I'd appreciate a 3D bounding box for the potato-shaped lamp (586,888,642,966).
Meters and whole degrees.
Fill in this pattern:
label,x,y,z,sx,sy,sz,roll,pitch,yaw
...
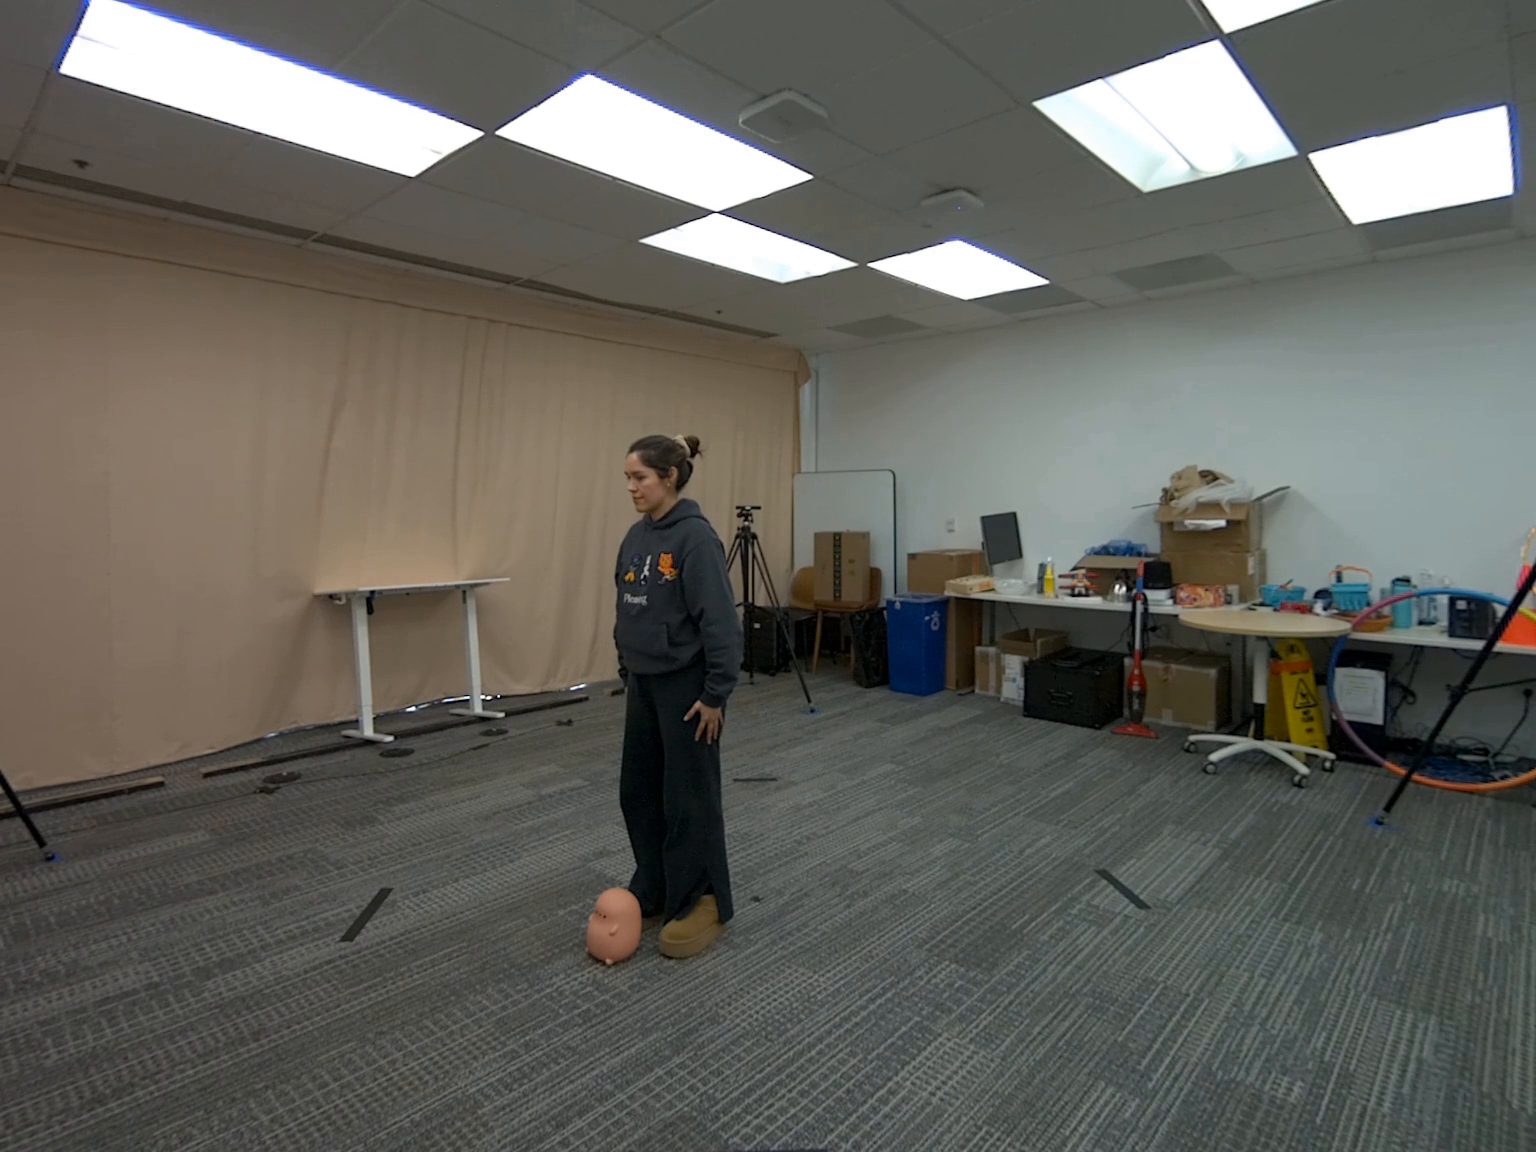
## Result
label,x,y,z,sx,sy,sz,roll,pitch,yaw
potato-shaped lamp,-0.455,1.077,2.626,0.170,0.198,0.166,4,4,41
